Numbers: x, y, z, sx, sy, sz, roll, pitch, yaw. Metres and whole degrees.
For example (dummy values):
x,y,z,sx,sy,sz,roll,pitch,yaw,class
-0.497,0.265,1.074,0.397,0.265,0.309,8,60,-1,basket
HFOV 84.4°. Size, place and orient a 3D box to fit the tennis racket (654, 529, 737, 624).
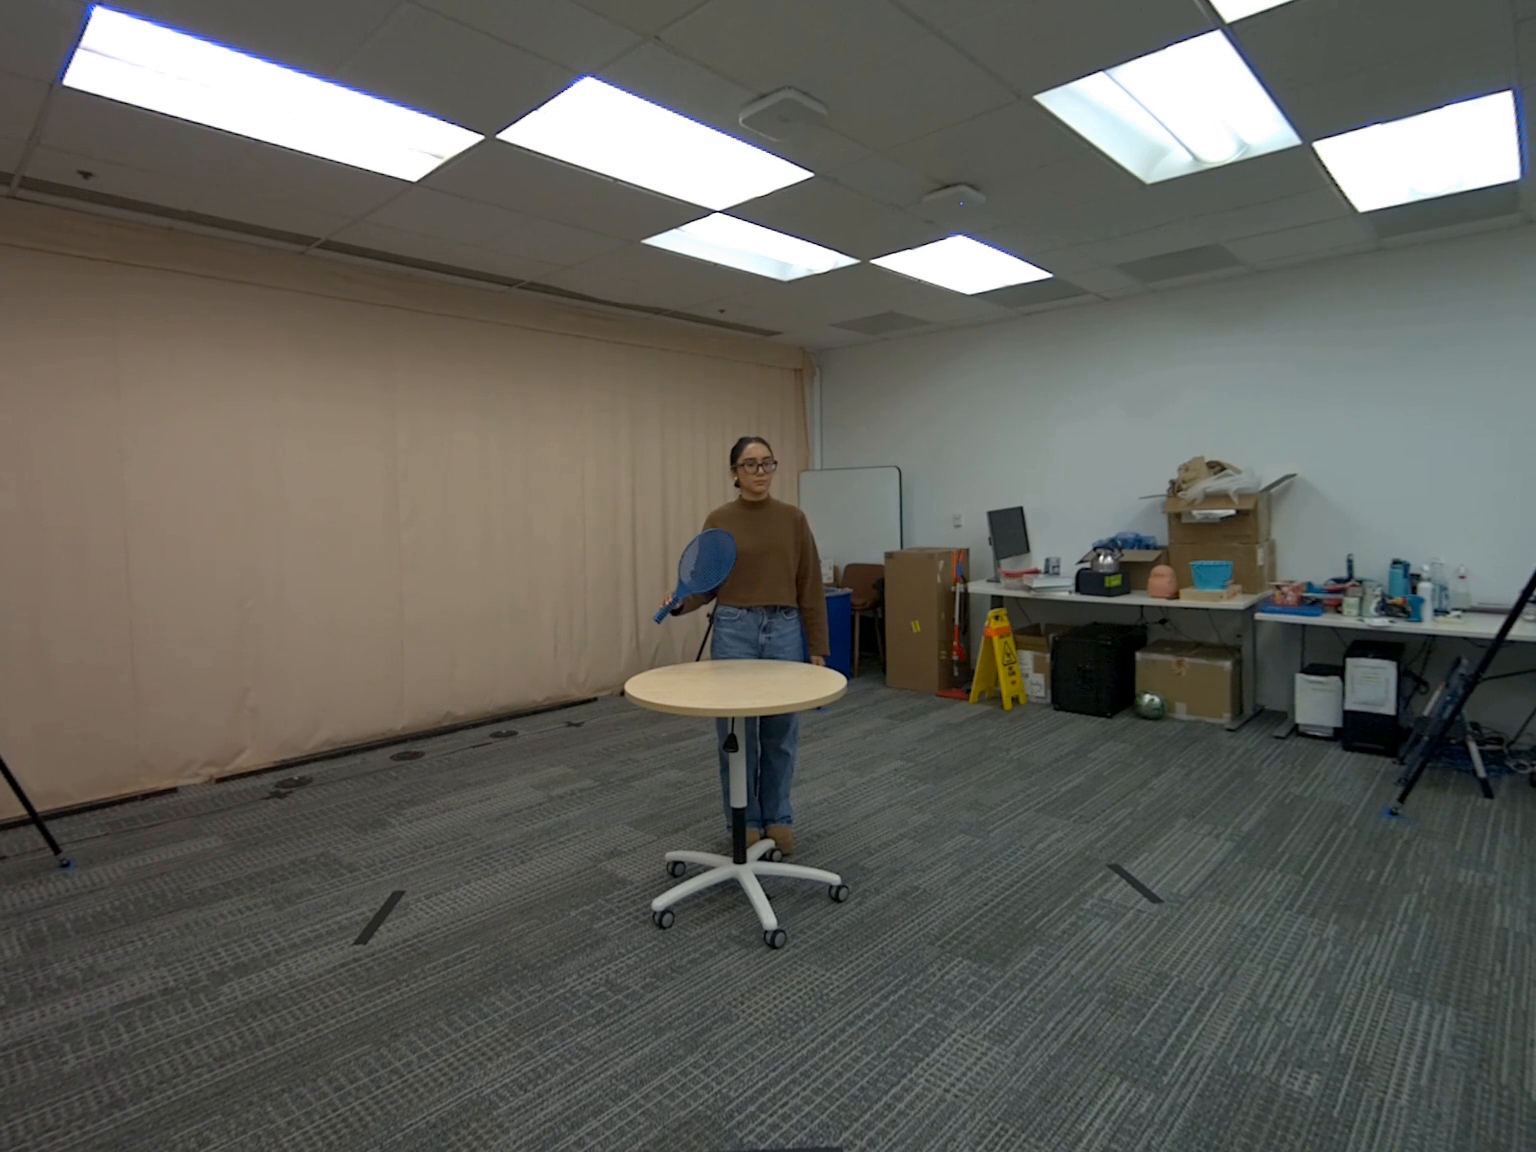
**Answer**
x,y,z,sx,sy,sz,roll,pitch,yaw,class
-0.266,0.006,3.155,0.207,0.432,0.033,44,-10,-31,tennis racket
